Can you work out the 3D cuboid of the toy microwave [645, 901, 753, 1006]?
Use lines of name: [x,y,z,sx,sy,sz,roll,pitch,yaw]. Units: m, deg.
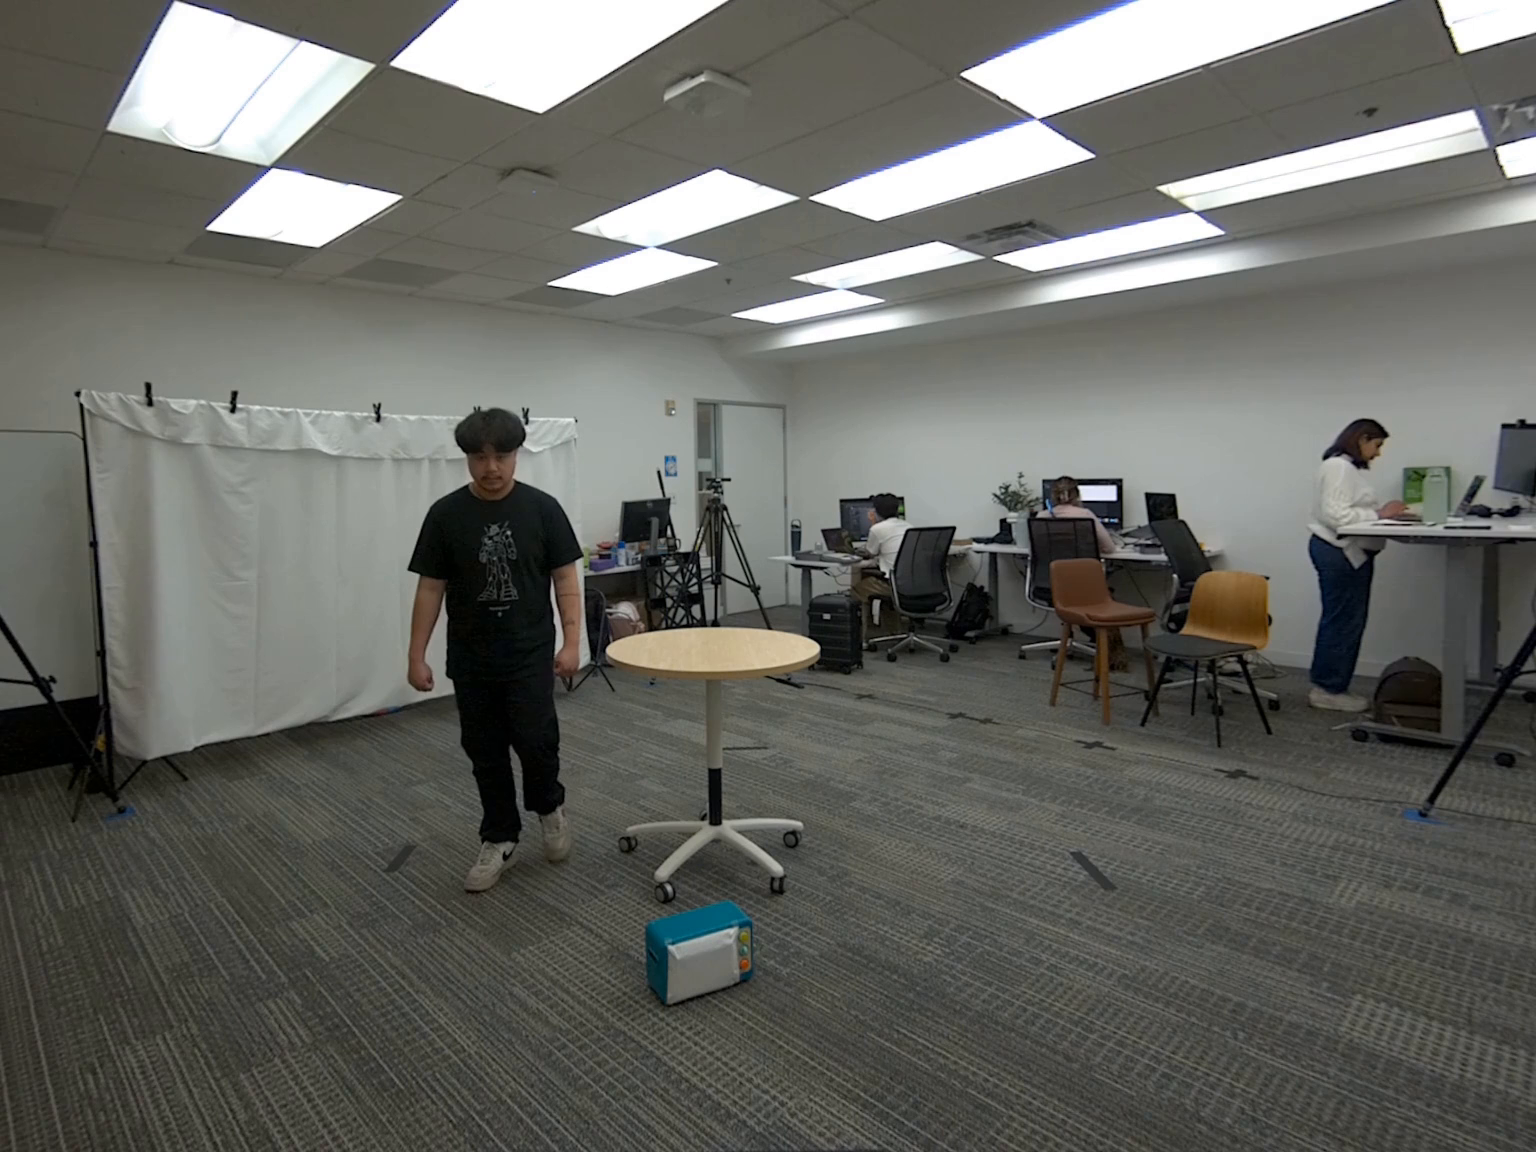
toy microwave: [-0.184,1.040,2.365,0.280,0.183,0.156,-4,6,-27]
